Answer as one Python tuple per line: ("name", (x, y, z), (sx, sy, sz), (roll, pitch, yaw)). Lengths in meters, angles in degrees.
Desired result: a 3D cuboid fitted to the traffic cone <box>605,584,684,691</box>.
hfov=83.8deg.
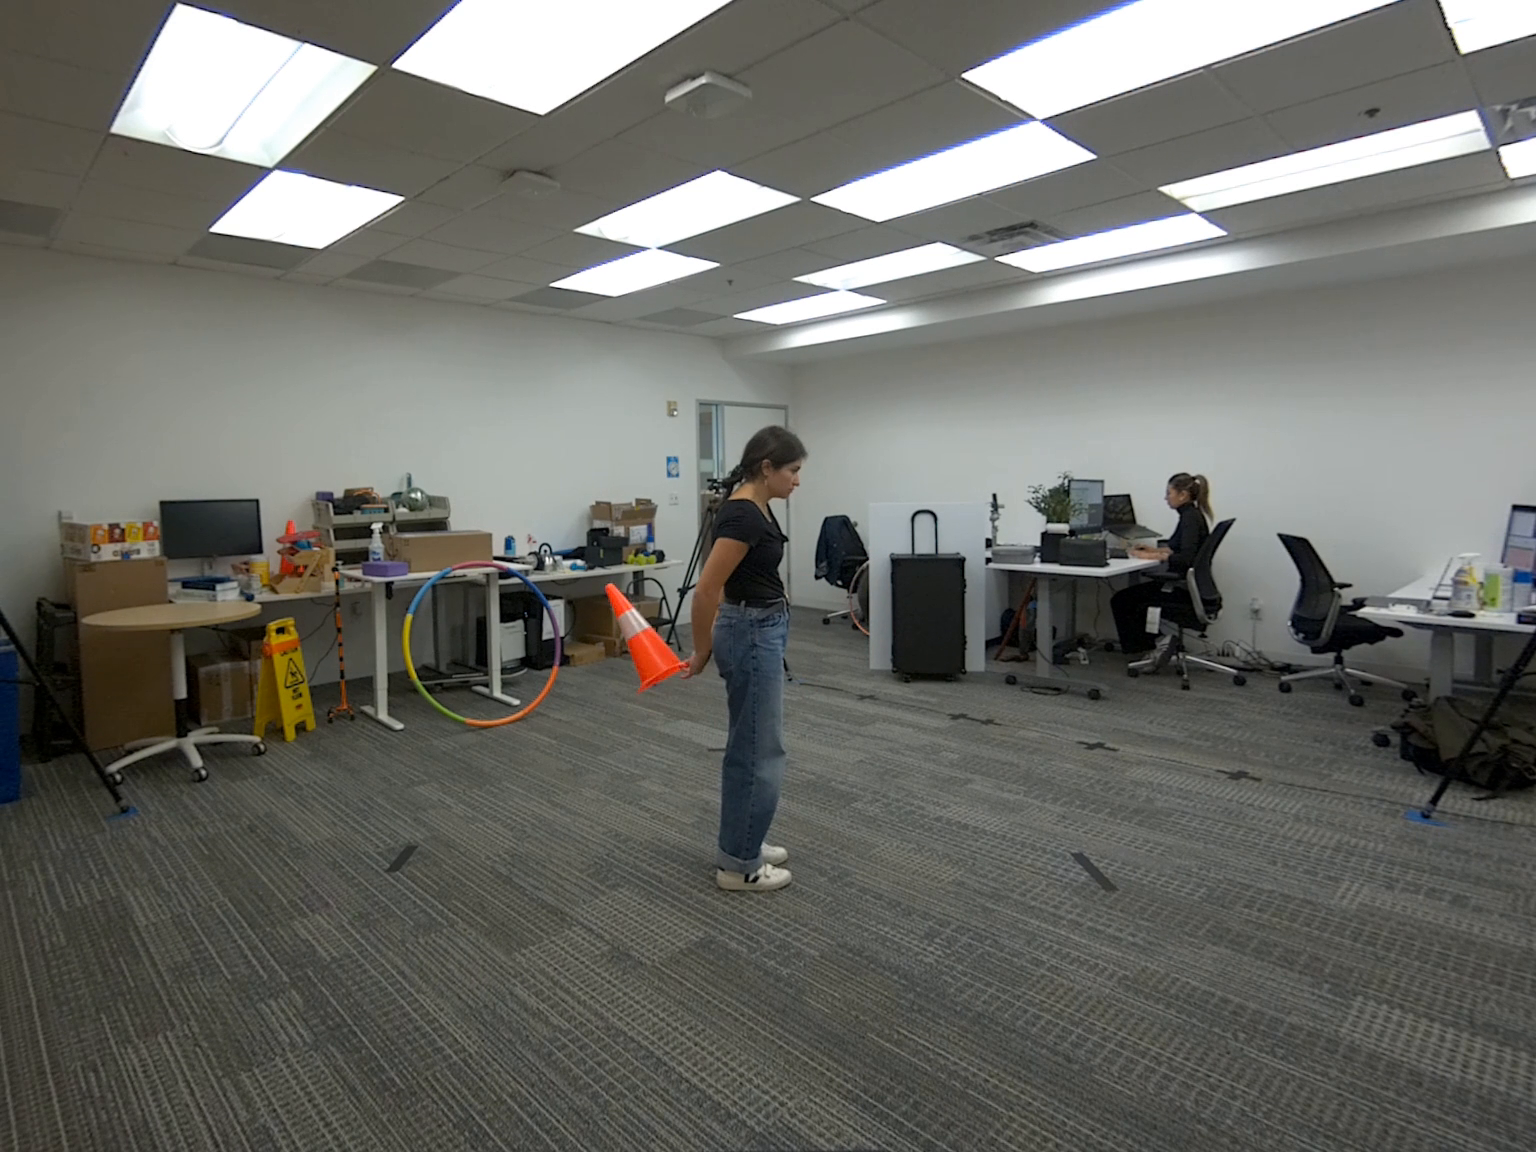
("traffic cone", (-0.450, 0.197, 3.030), (0.202, 0.390, 0.202), (-29, -13, -12))
